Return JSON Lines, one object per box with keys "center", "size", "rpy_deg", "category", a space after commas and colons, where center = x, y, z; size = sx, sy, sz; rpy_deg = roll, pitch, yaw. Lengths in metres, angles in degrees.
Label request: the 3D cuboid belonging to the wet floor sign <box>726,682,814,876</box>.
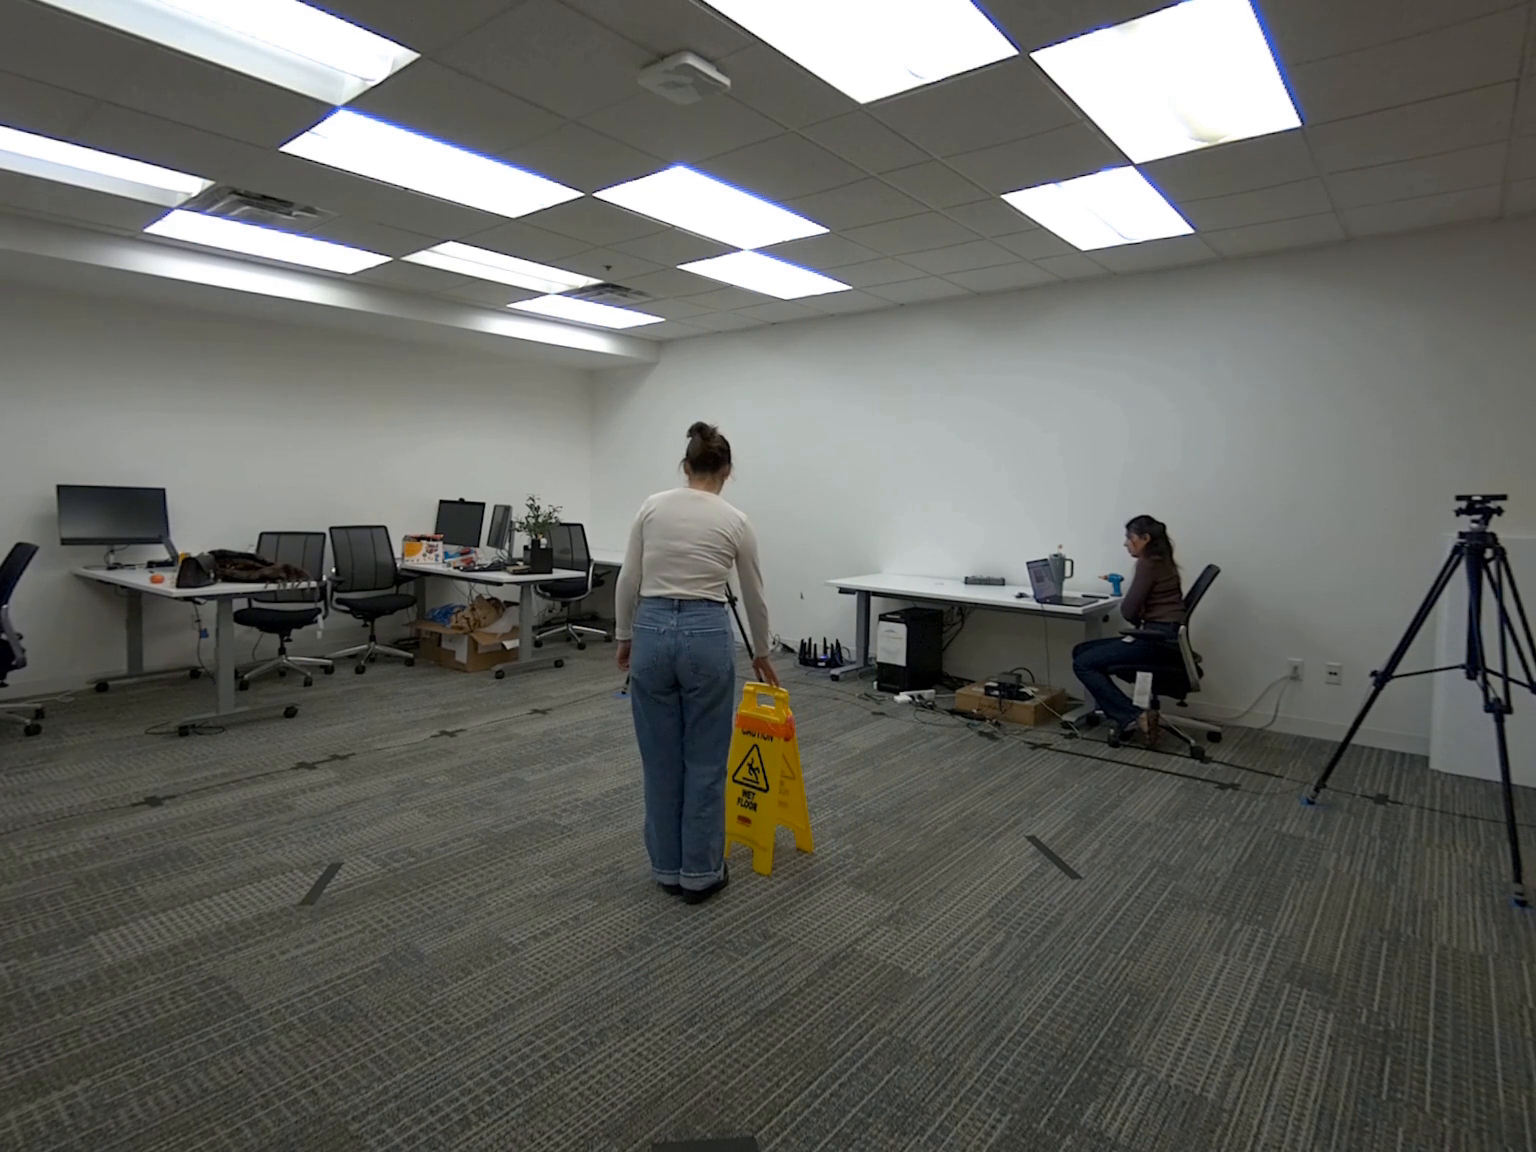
{"center": [-0.022, 0.730, 3.235], "size": [0.292, 0.644, 0.281], "rpy_deg": [4, 4, 39], "category": "wet floor sign"}
